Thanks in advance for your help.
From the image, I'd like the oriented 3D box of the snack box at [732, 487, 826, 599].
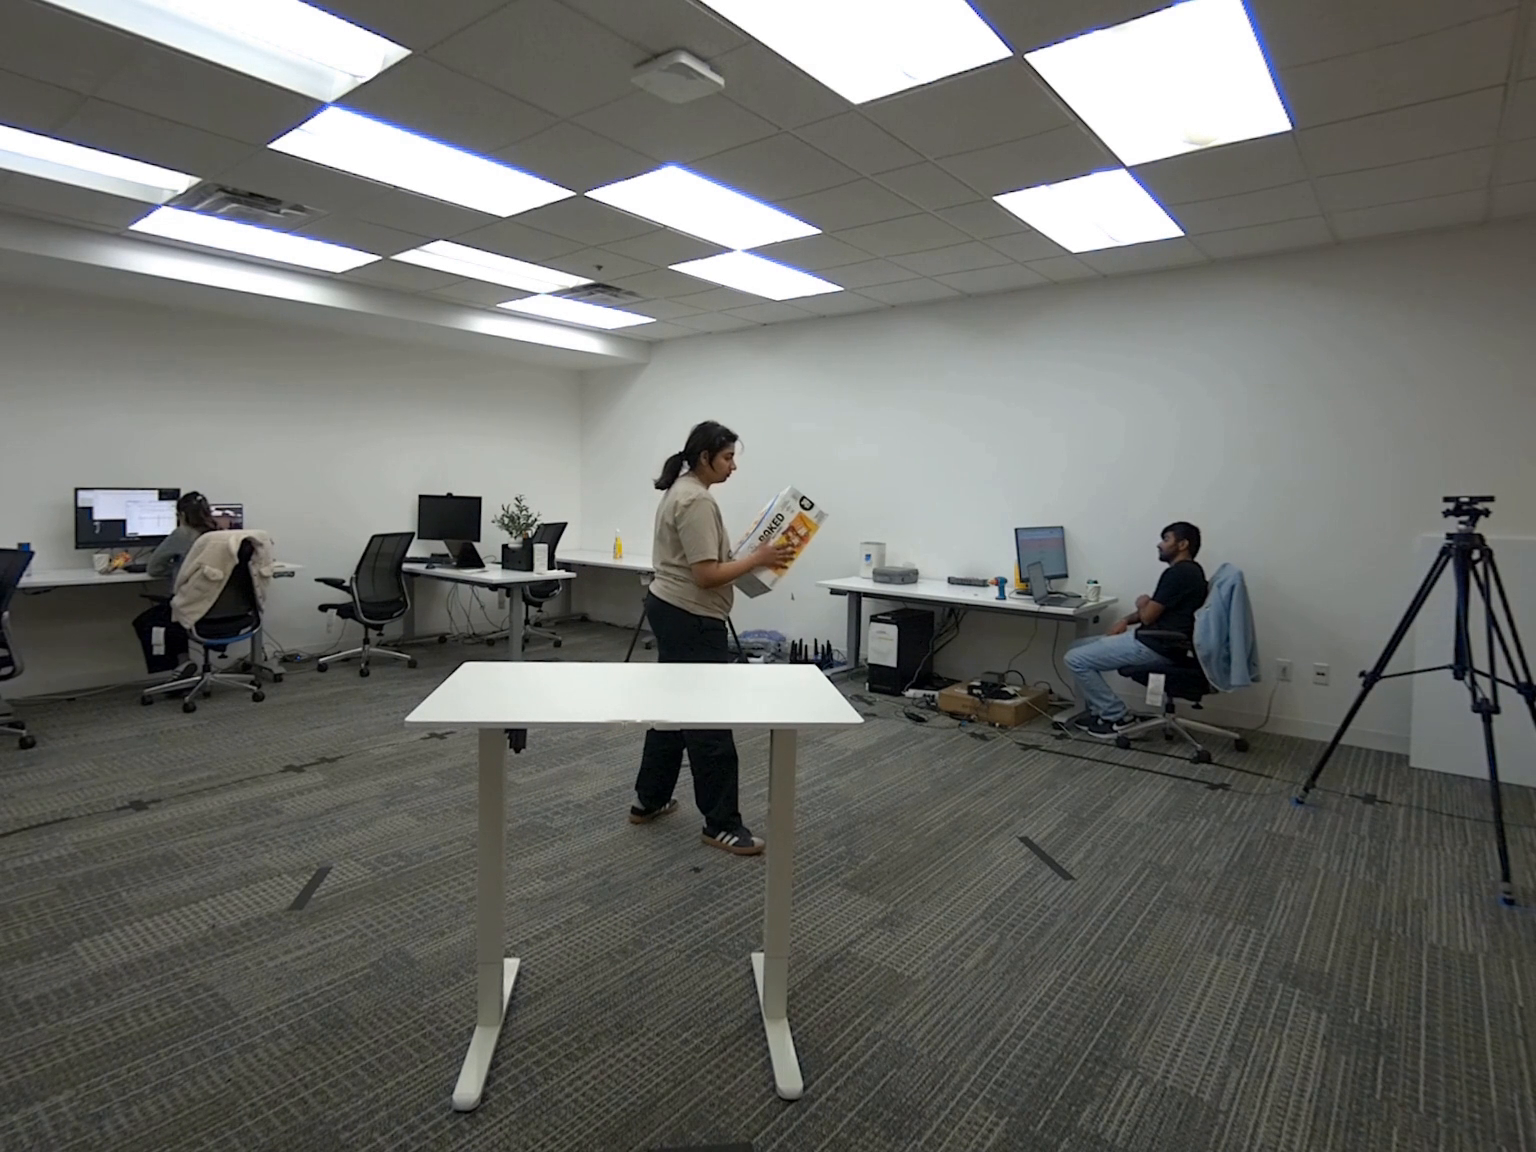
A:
[{"bbox_3d":[0.004,-0.140,3.614,0.204,0.406,0.342,38,-16,-7],"label":"snack box"}]
